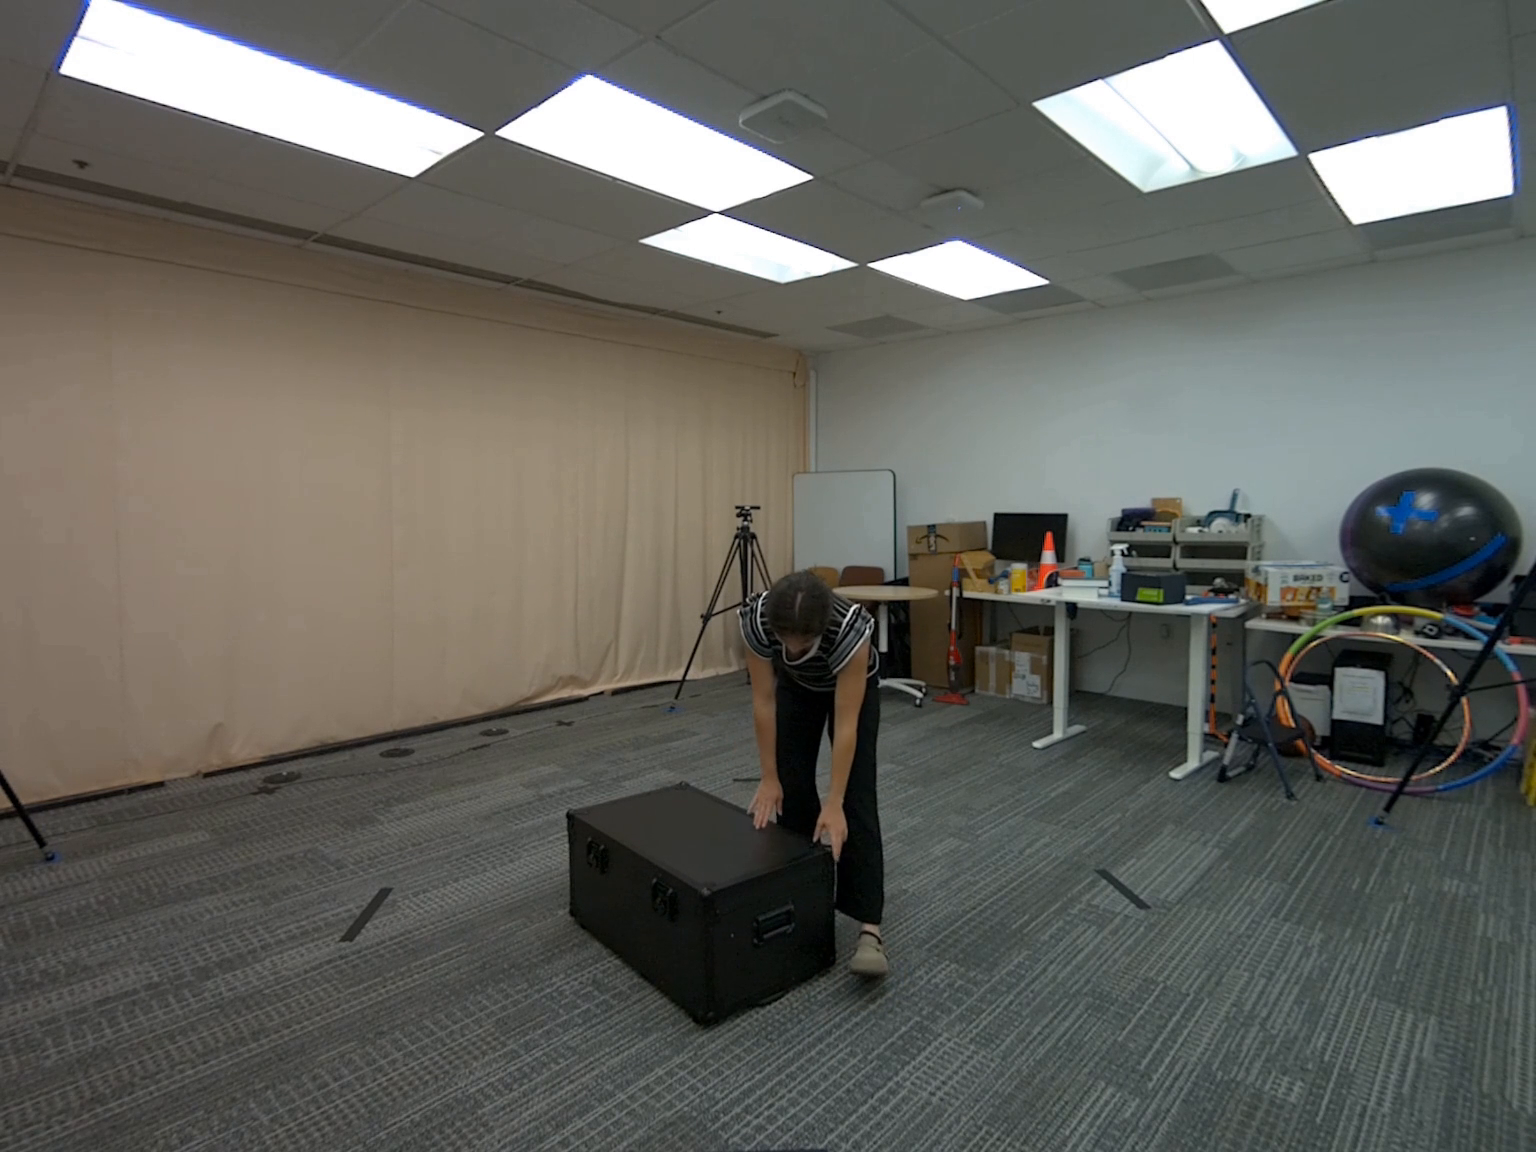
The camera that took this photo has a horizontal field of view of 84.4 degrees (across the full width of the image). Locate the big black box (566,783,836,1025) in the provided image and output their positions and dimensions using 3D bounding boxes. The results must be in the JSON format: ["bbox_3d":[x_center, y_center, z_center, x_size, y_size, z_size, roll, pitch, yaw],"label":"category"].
[{"bbox_3d":[-0.253,0.983,2.687,0.505,0.395,0.890,-4,6,-39],"label":"big black box"}]
